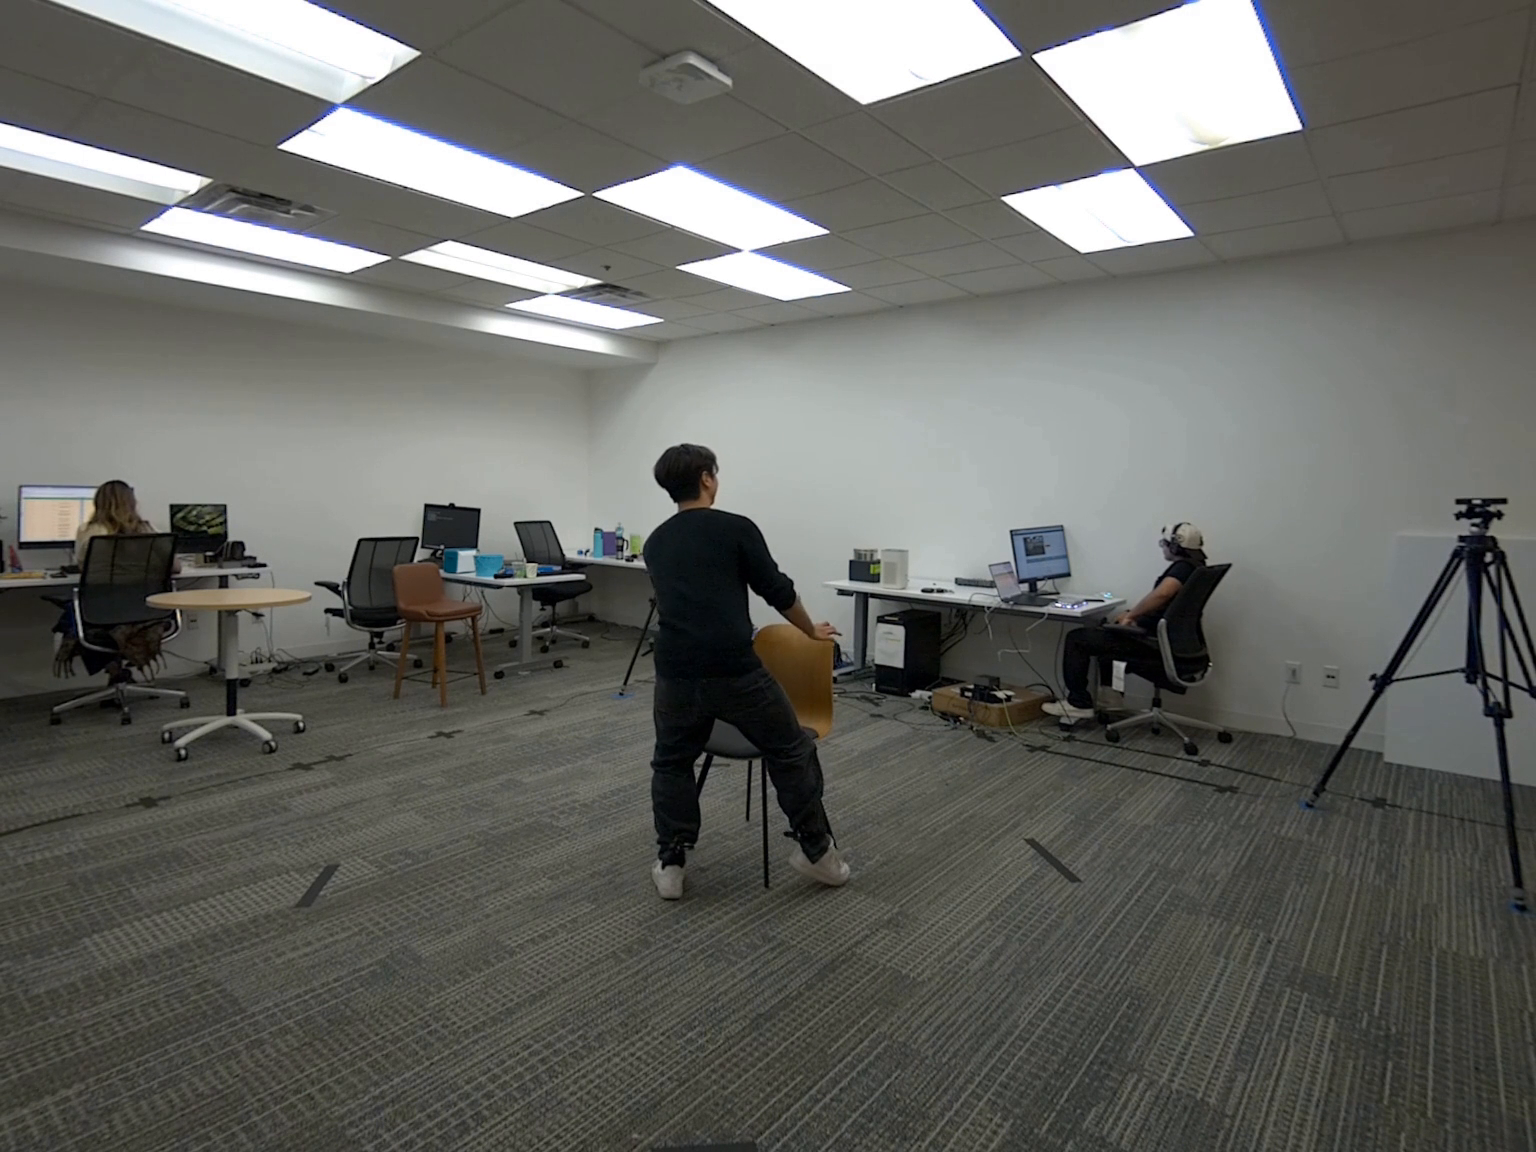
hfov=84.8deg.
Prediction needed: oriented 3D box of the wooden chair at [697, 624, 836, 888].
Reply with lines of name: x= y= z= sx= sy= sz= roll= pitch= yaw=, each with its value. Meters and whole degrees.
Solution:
wooden chair: x=-0.049 y=0.629 z=3.245 sx=0.494 sy=0.877 sz=0.506 roll=5 pitch=1 yaw=39
